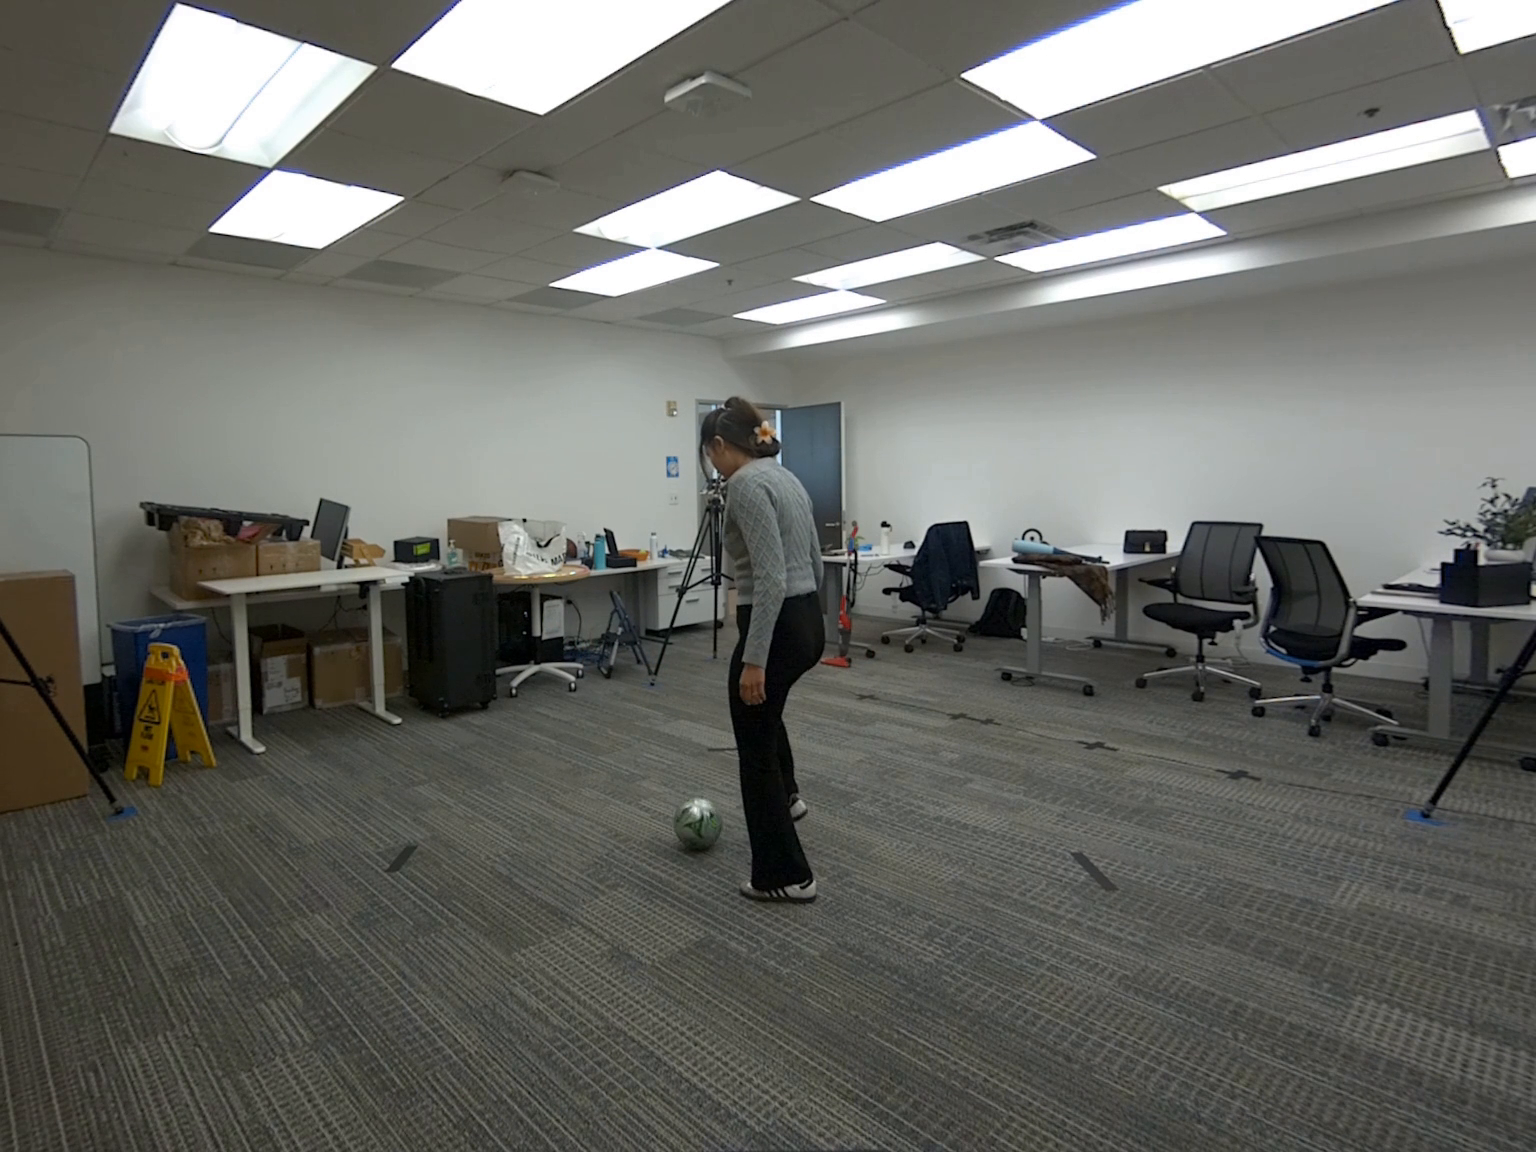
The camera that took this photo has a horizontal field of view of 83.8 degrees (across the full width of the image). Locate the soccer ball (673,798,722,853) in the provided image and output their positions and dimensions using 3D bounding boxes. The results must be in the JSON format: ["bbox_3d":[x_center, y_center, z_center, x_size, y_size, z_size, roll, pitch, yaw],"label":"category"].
[{"bbox_3d":[-0.267,0.939,3.243,0.187,0.187,0.188,-1,5,-2],"label":"soccer ball"}]
